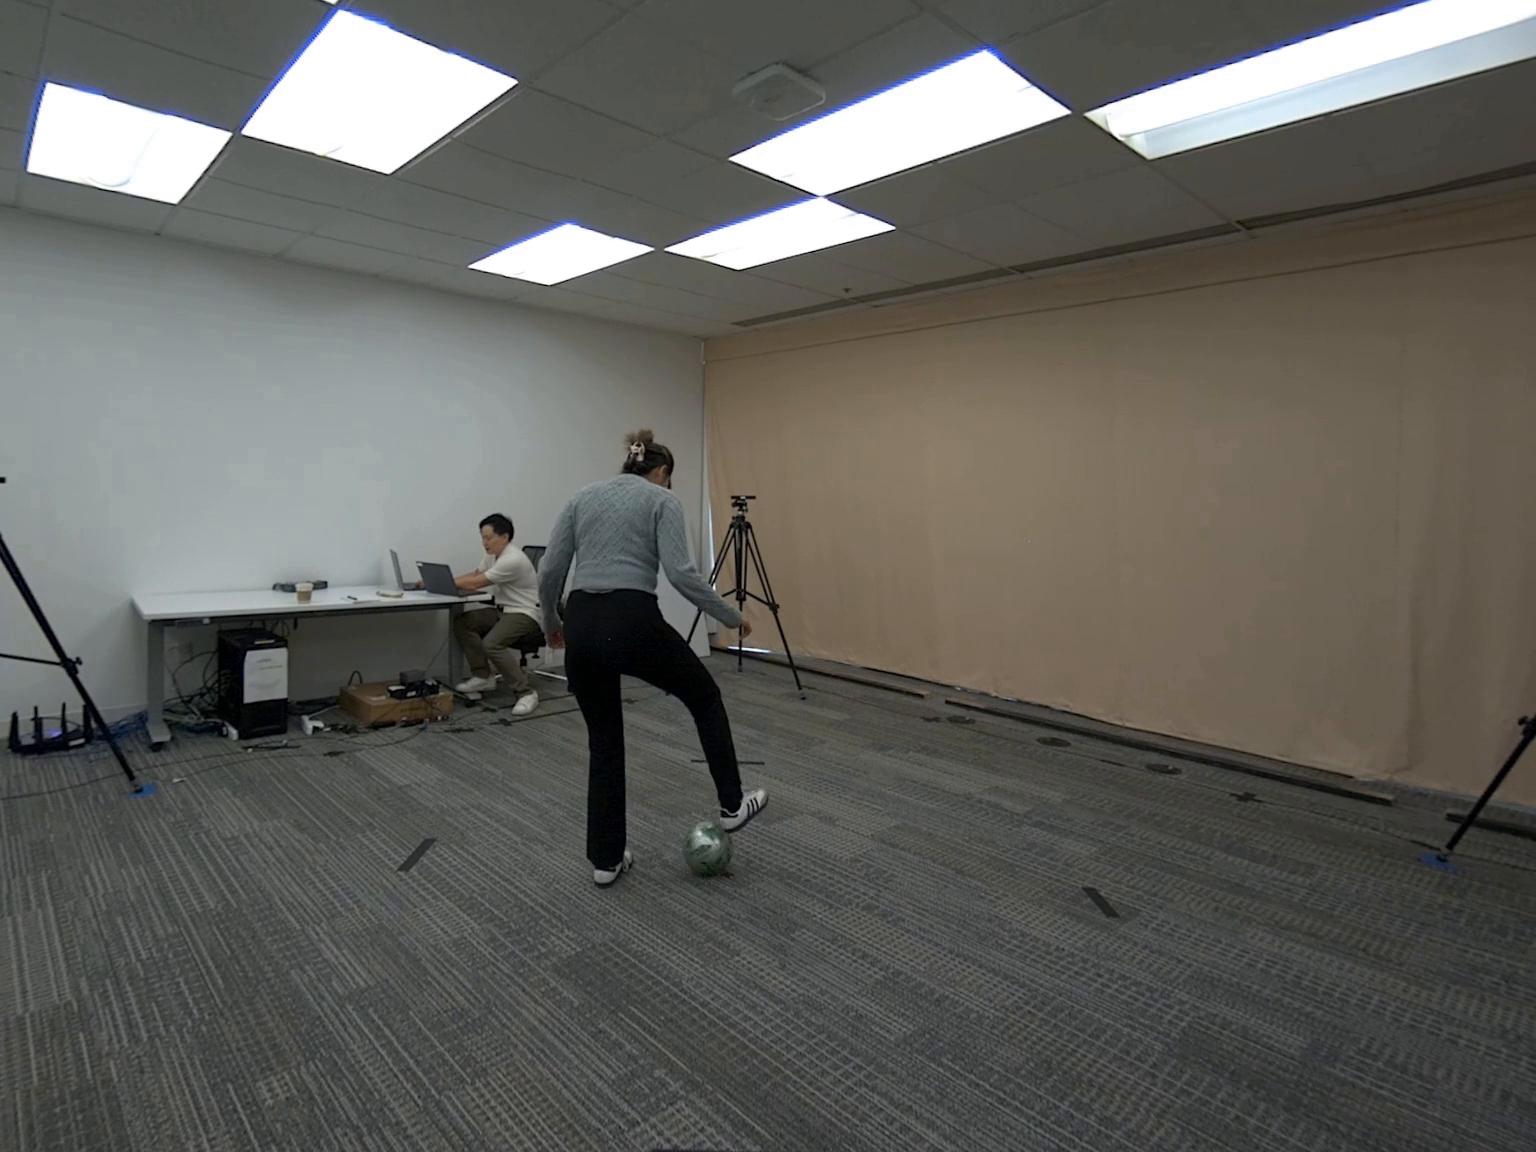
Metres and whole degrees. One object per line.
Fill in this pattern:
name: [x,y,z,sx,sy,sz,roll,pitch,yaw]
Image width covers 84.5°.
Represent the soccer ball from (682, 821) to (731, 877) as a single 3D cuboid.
soccer ball: [-0.232,1.006,3.112,0.187,0.187,0.188,1,4,-1]
